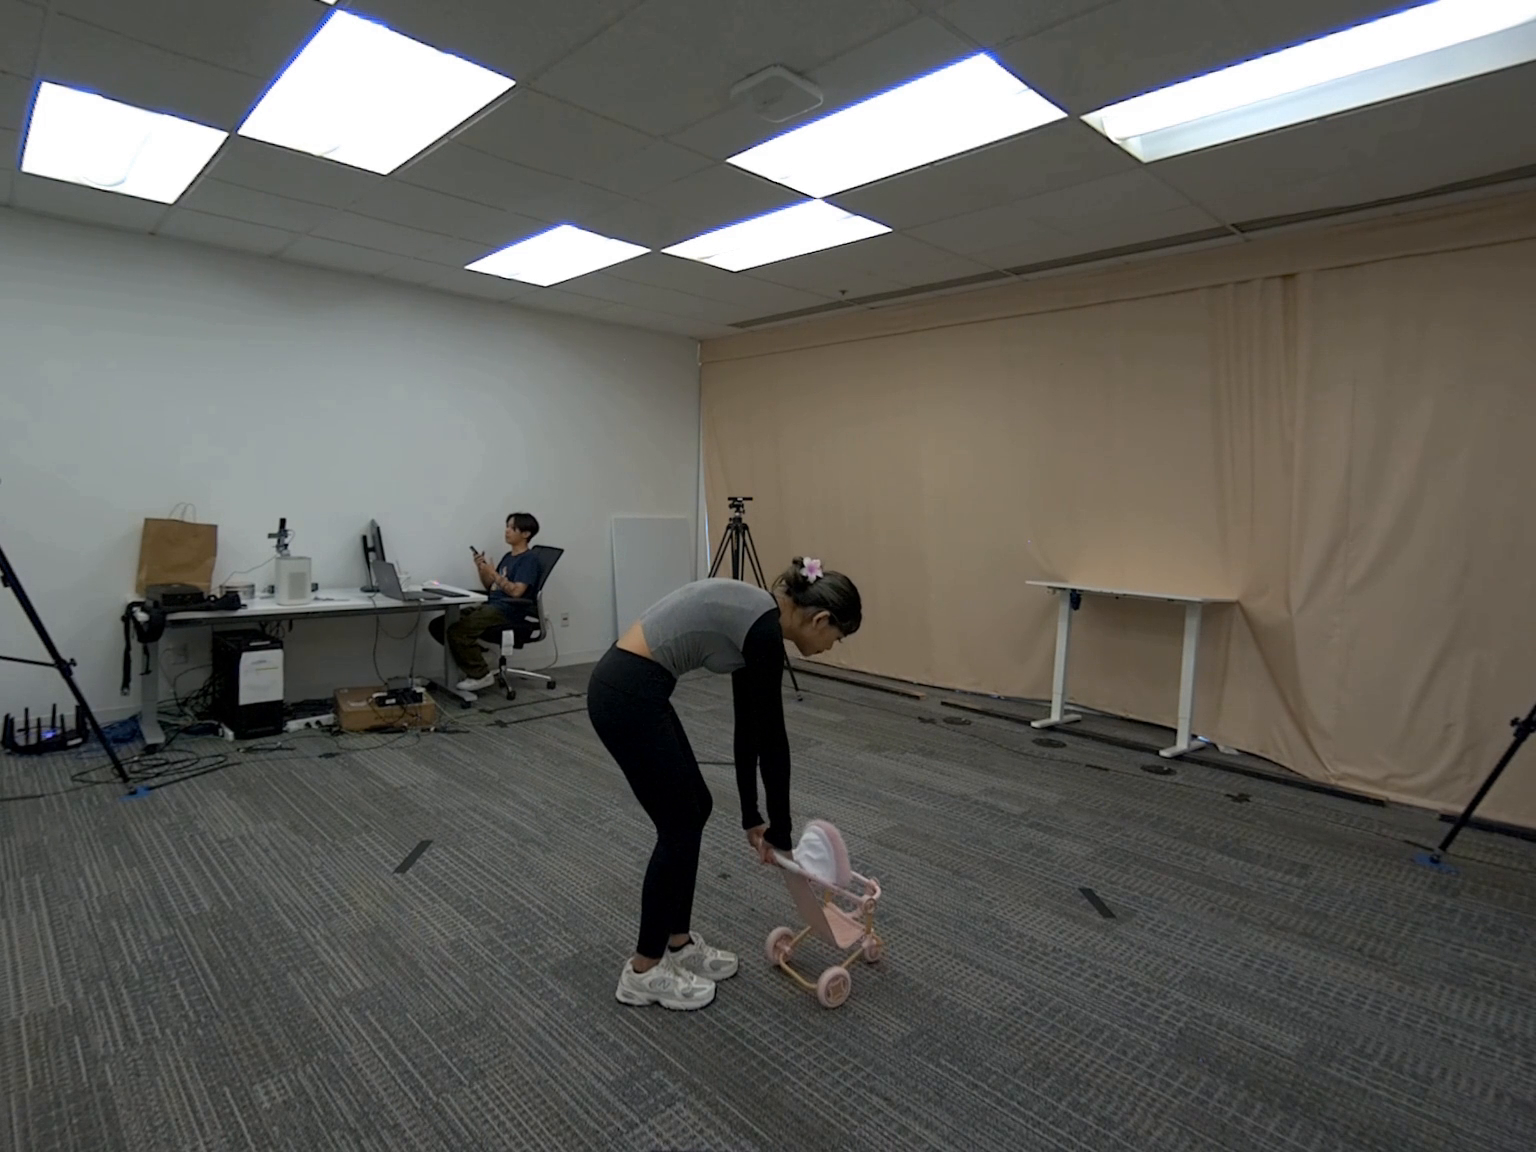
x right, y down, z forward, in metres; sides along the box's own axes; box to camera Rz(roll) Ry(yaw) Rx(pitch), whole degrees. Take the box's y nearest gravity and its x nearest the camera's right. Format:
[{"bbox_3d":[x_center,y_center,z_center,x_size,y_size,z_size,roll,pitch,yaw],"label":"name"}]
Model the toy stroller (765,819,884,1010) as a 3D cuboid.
[{"bbox_3d":[0.166,0.947,2.445,0.337,0.530,0.288,-16,11,-27],"label":"toy stroller"}]
